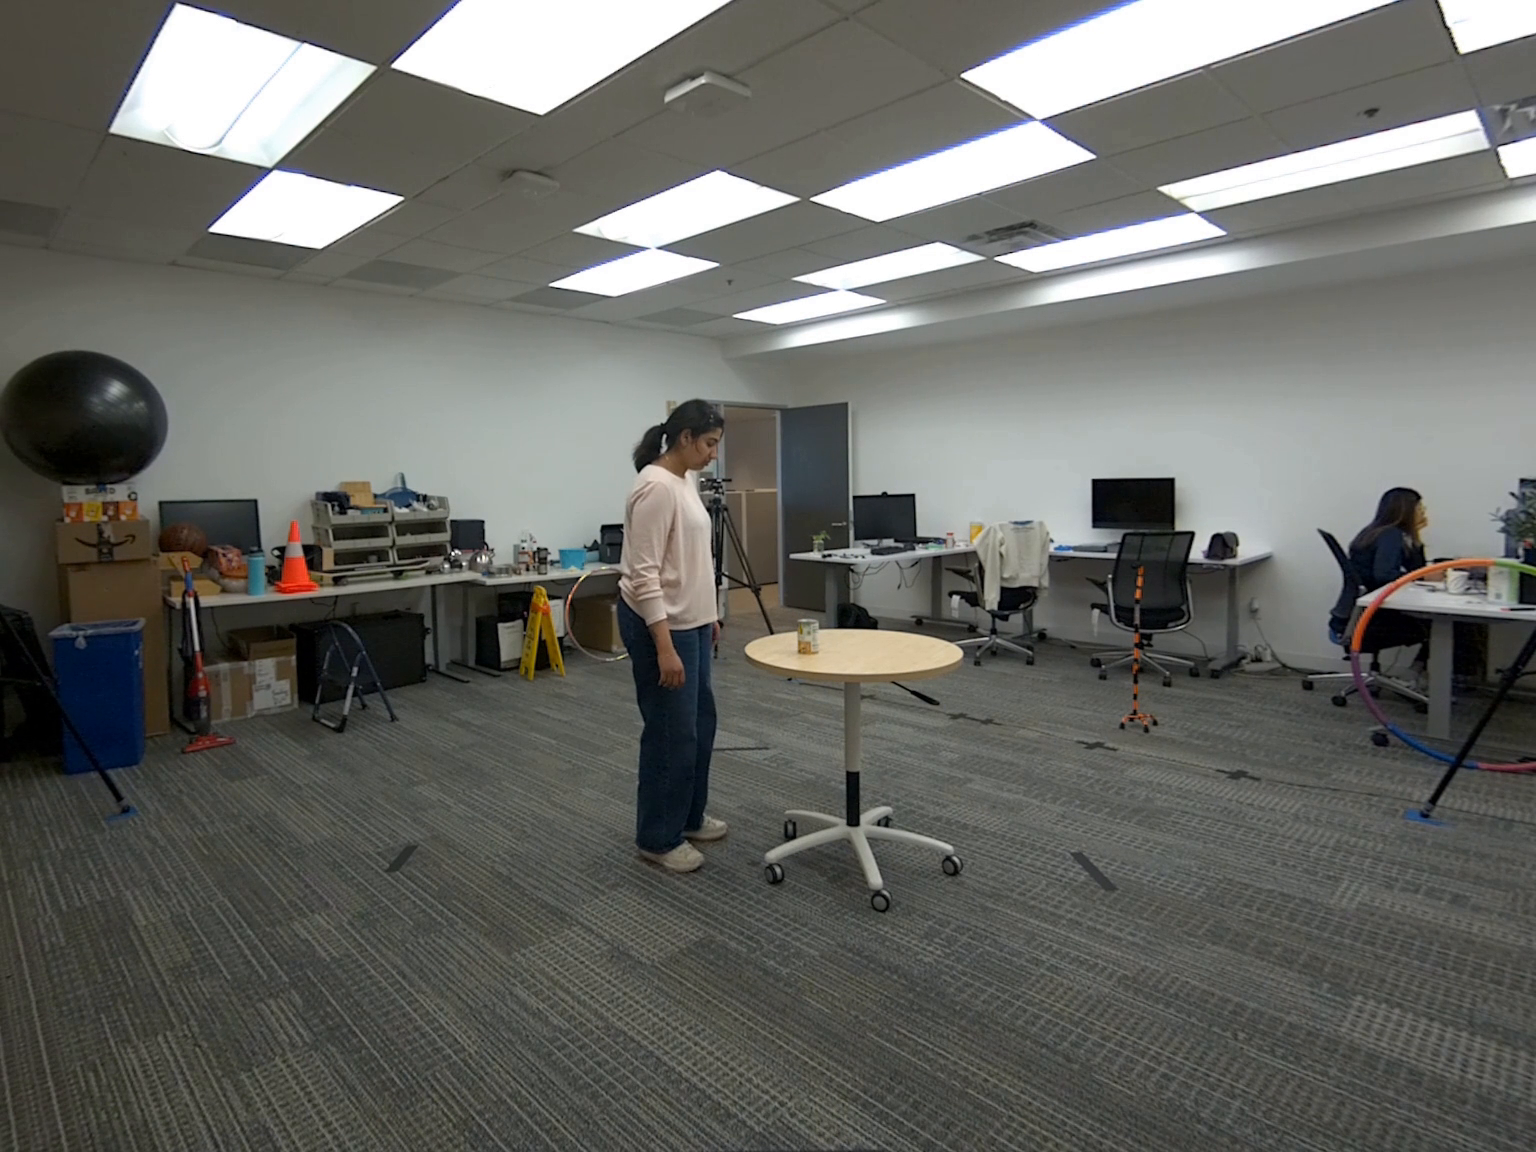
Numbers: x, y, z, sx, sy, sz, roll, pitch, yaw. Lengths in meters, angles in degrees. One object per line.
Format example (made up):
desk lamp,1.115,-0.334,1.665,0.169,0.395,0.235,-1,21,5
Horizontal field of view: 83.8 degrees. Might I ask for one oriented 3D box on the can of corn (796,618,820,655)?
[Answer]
can of corn,0.136,0.212,2.992,0.074,0.111,0.074,-2,4,-1
